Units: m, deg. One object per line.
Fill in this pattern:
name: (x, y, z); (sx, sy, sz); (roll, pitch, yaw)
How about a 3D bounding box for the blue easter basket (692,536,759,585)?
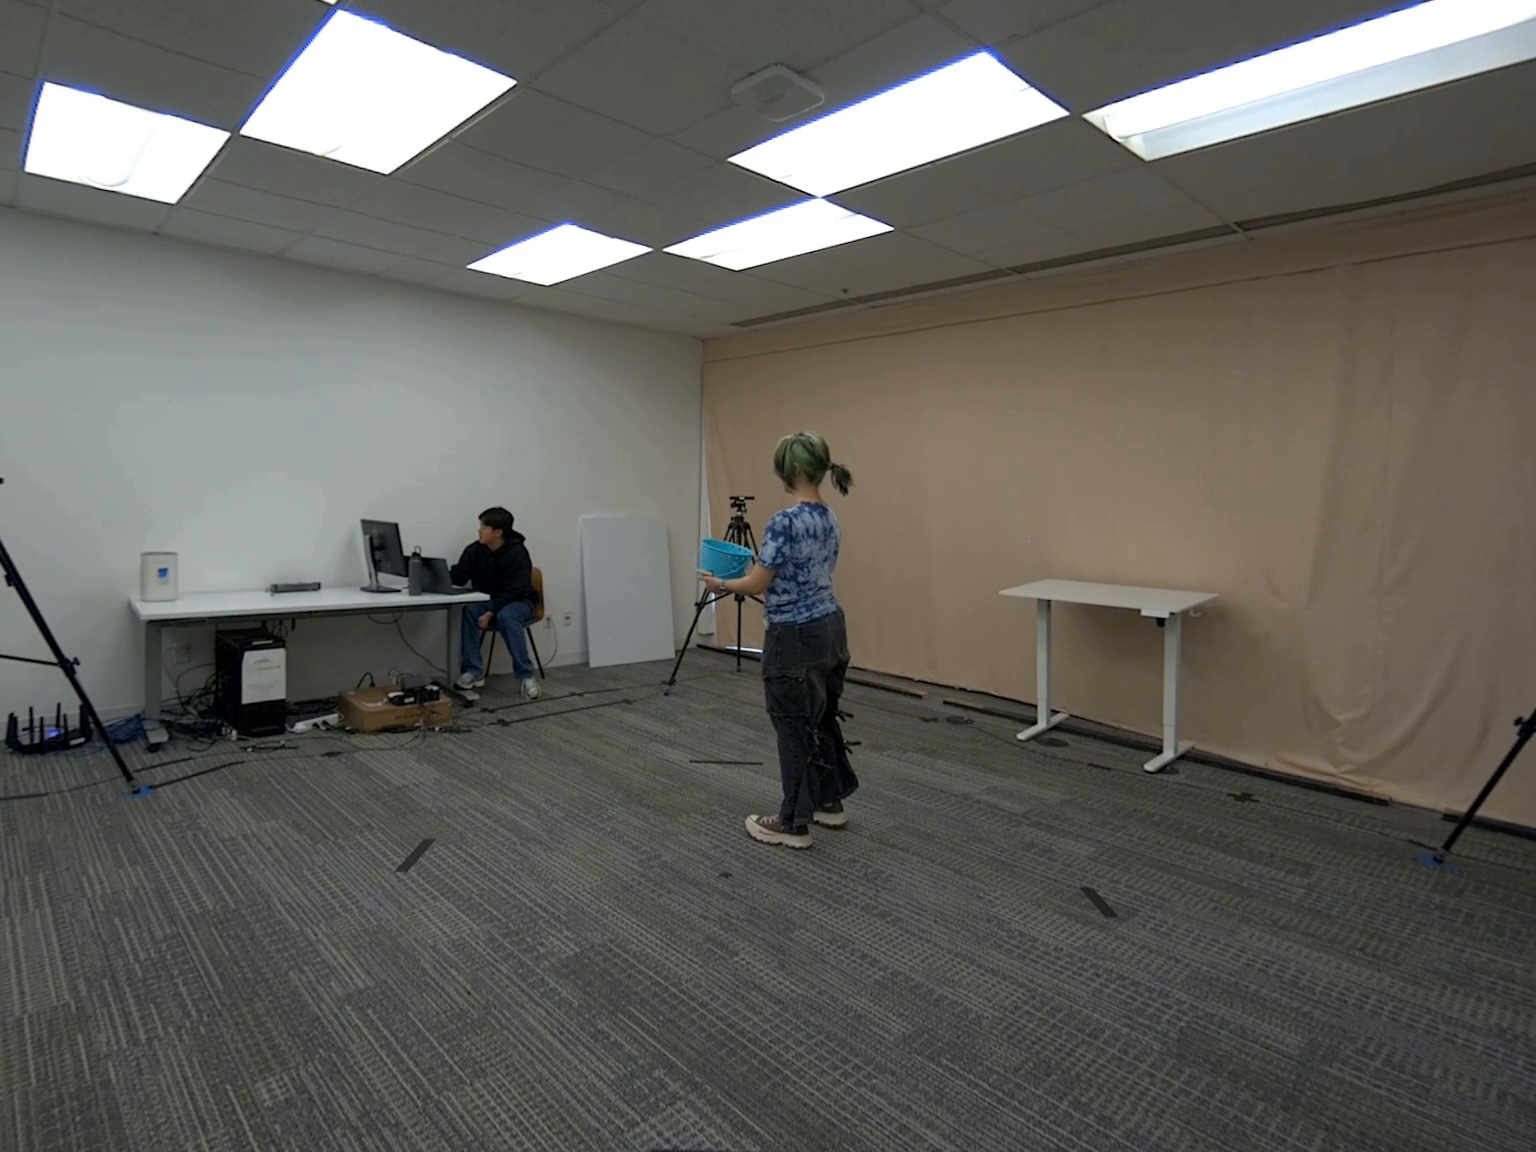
blue easter basket: (-0.180, -0.049, 3.590); (0.243, 0.155, 0.246); (13, 10, -4)
